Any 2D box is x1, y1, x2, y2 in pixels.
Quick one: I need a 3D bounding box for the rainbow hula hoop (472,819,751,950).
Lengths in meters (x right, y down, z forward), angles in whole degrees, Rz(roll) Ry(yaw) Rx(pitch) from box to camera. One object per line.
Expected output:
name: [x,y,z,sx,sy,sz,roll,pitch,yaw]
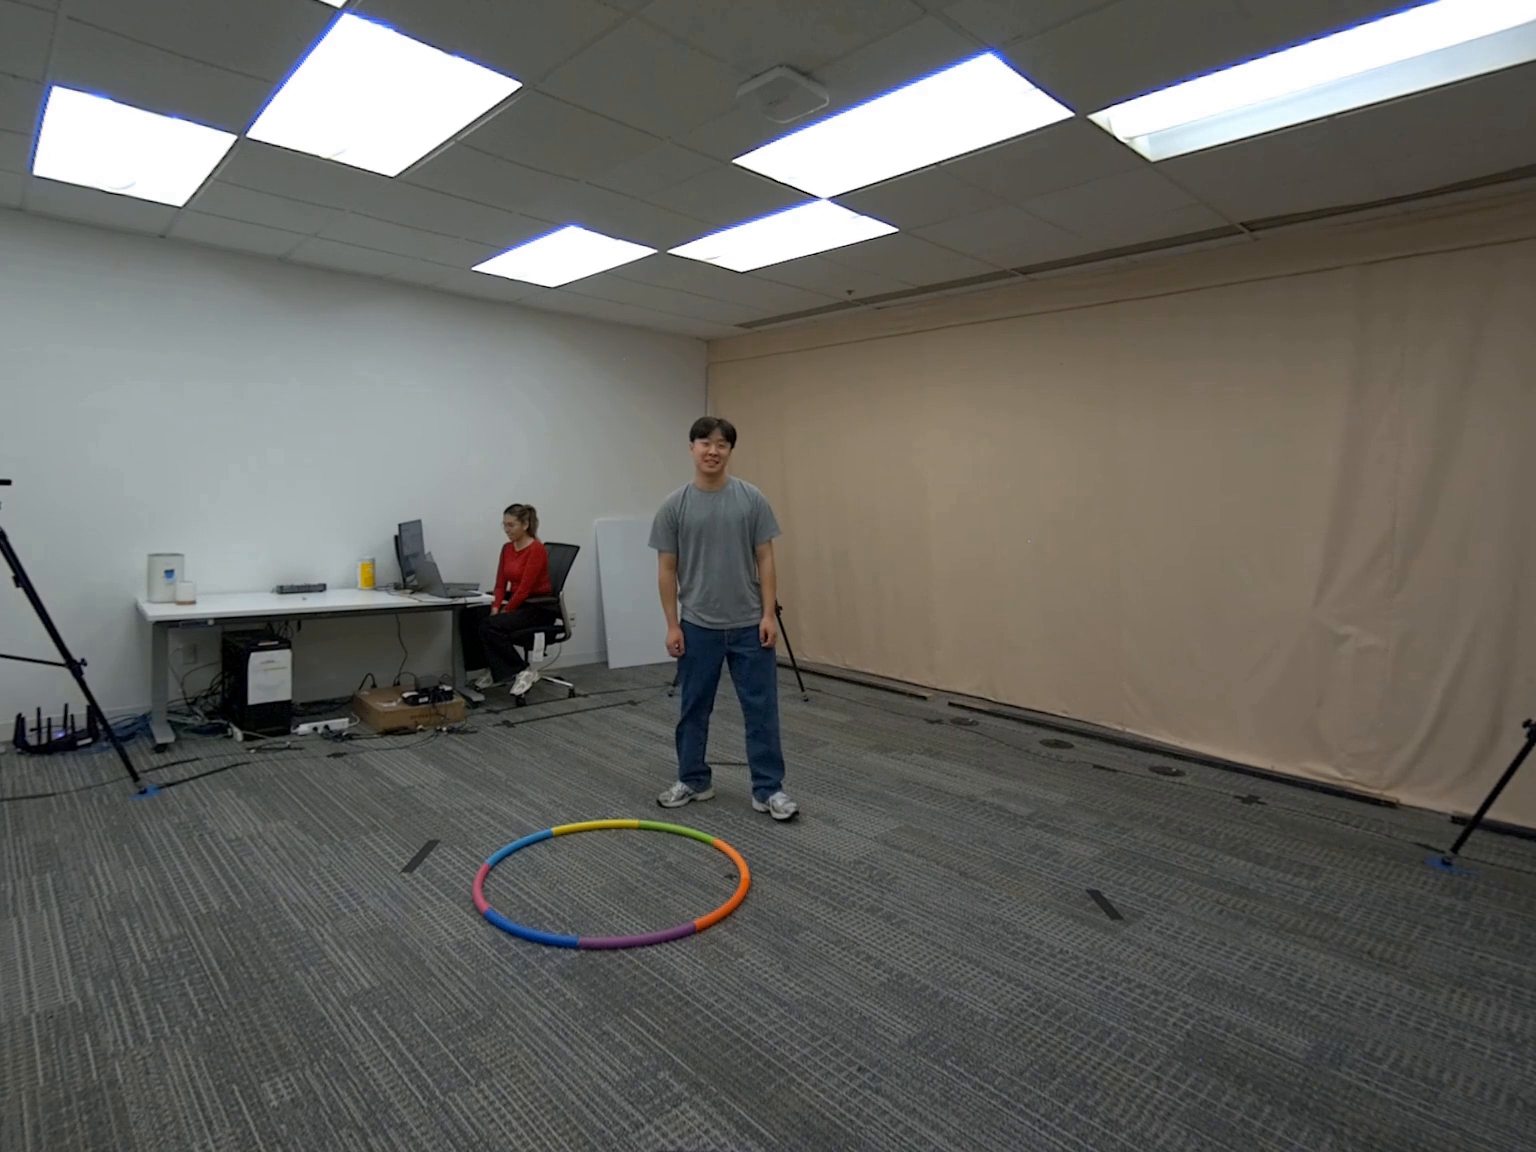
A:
rainbow hula hoop: [-0.566,1.067,3.060,0.978,0.035,0.982,1,5,-1]
